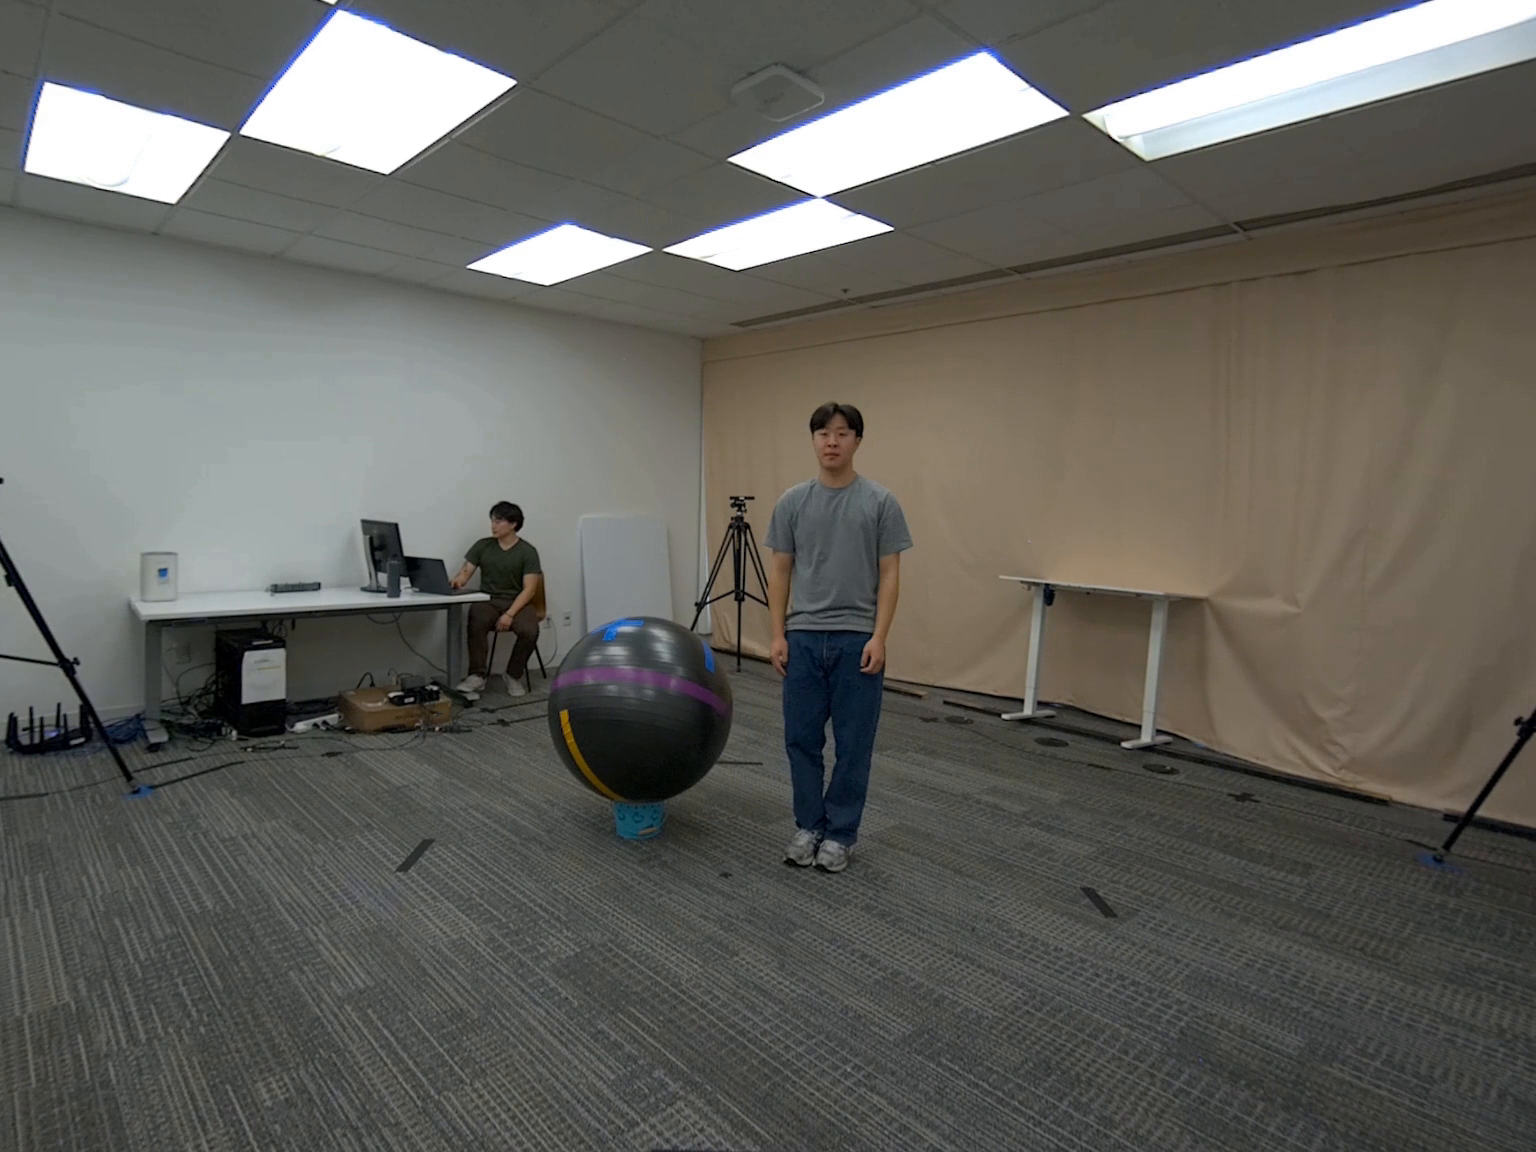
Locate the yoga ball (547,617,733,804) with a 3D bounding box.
[{"bbox_3d":[-0.539,0.557,3.500,0.757,0.756,0.761,1,4,-1],"label":"yoga ball"}]
